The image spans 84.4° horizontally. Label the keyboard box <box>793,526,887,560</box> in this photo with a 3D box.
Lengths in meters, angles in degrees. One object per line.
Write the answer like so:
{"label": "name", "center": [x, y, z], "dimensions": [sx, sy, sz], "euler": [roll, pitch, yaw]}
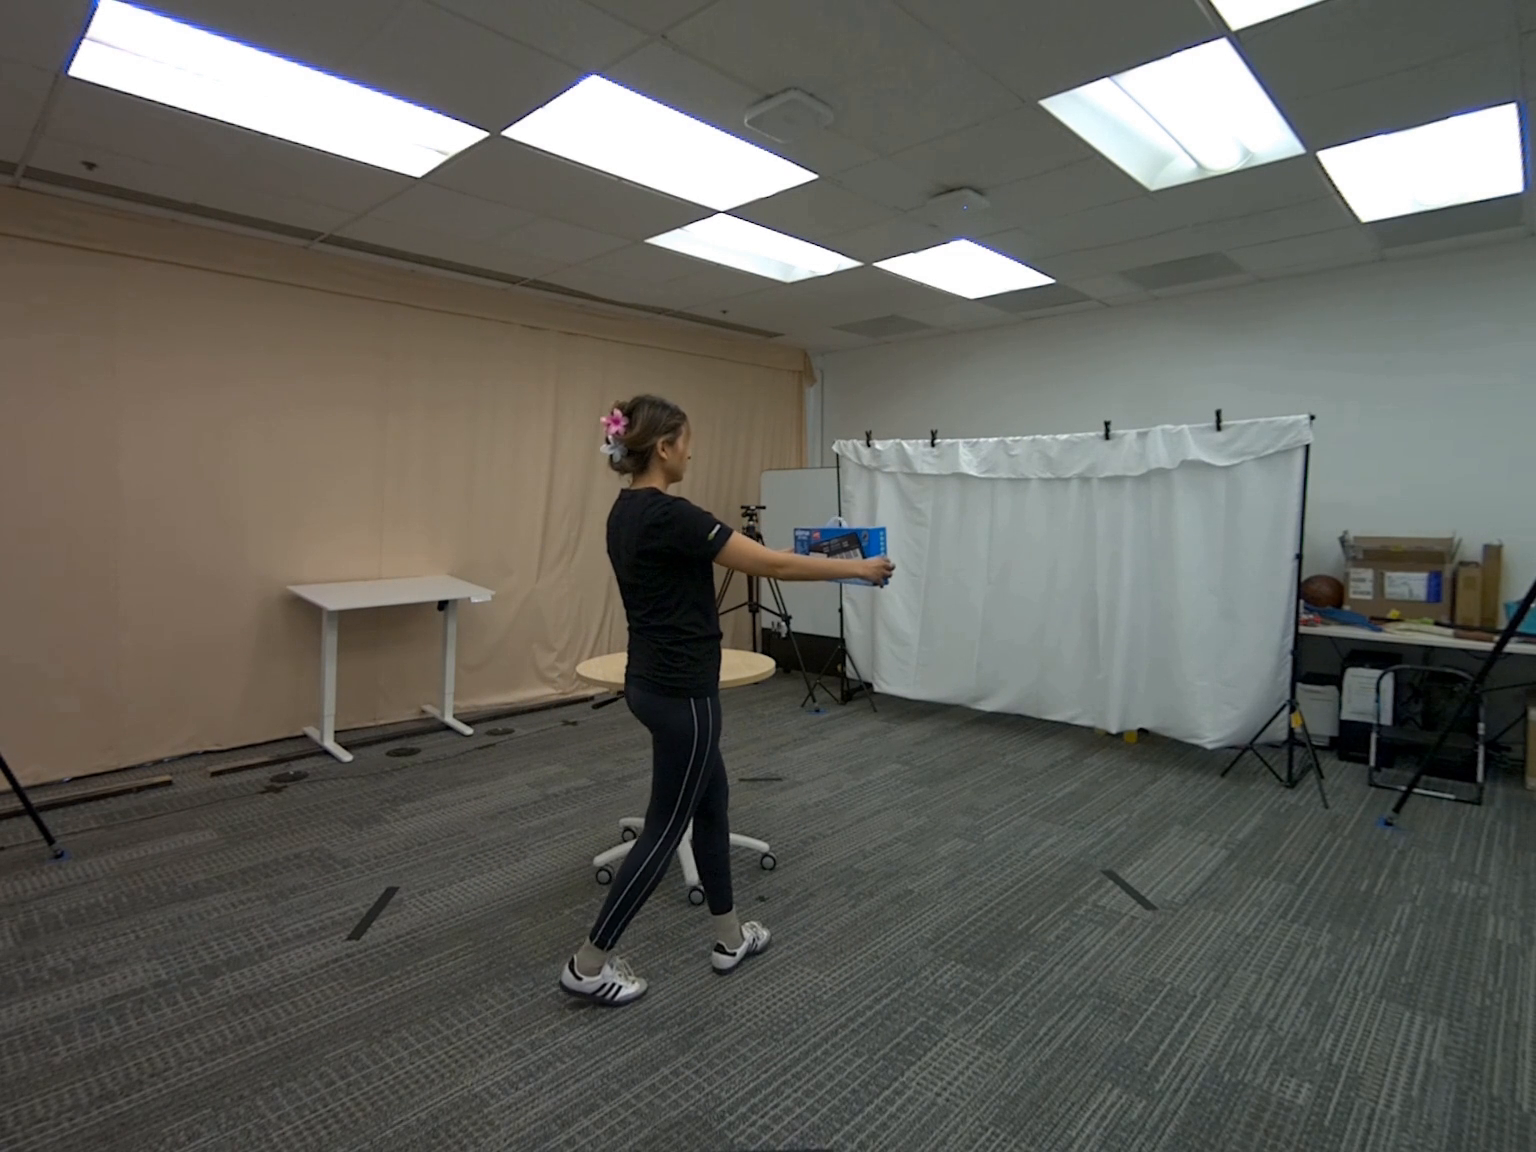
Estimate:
{"label": "keyboard box", "center": [0.223, -0.066, 2.651], "dimensions": [0.057, 0.175, 0.449], "euler": [-3, 4, -28]}
